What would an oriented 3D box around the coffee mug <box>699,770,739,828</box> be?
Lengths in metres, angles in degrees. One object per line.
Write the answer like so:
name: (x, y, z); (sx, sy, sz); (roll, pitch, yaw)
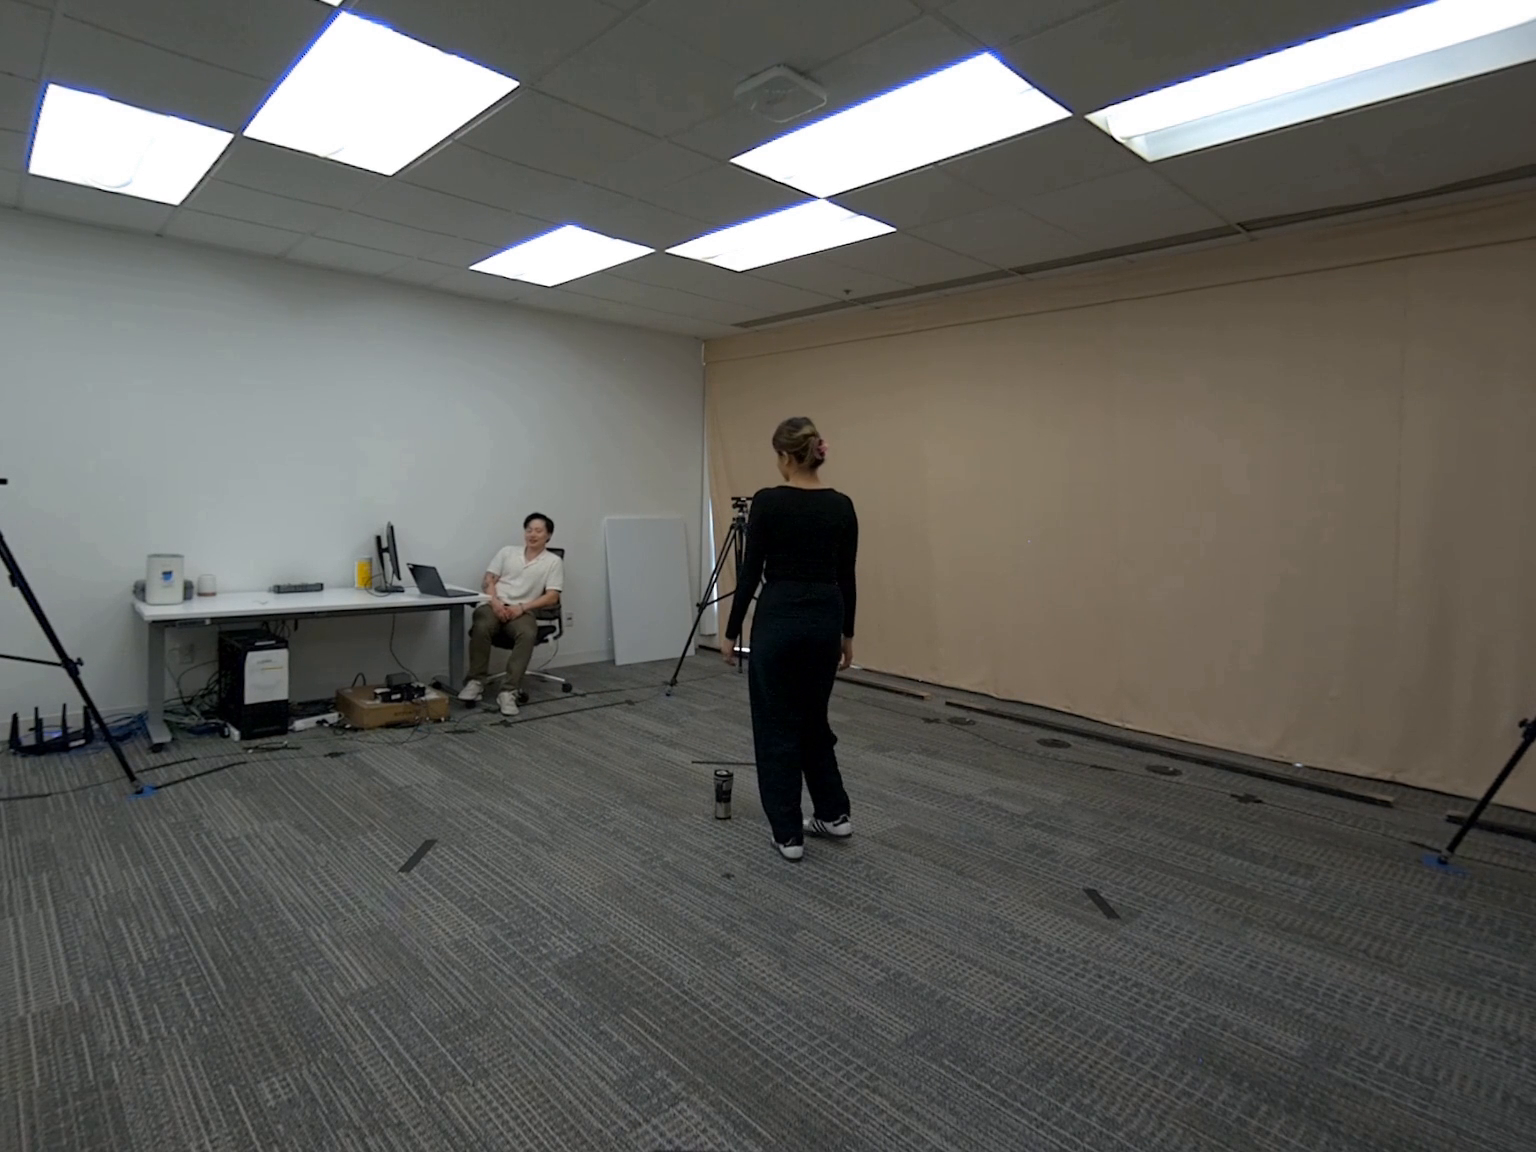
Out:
coffee mug: (-0.213, 0.960, 3.664); (0.119, 0.203, 0.090); (4, 3, -44)
